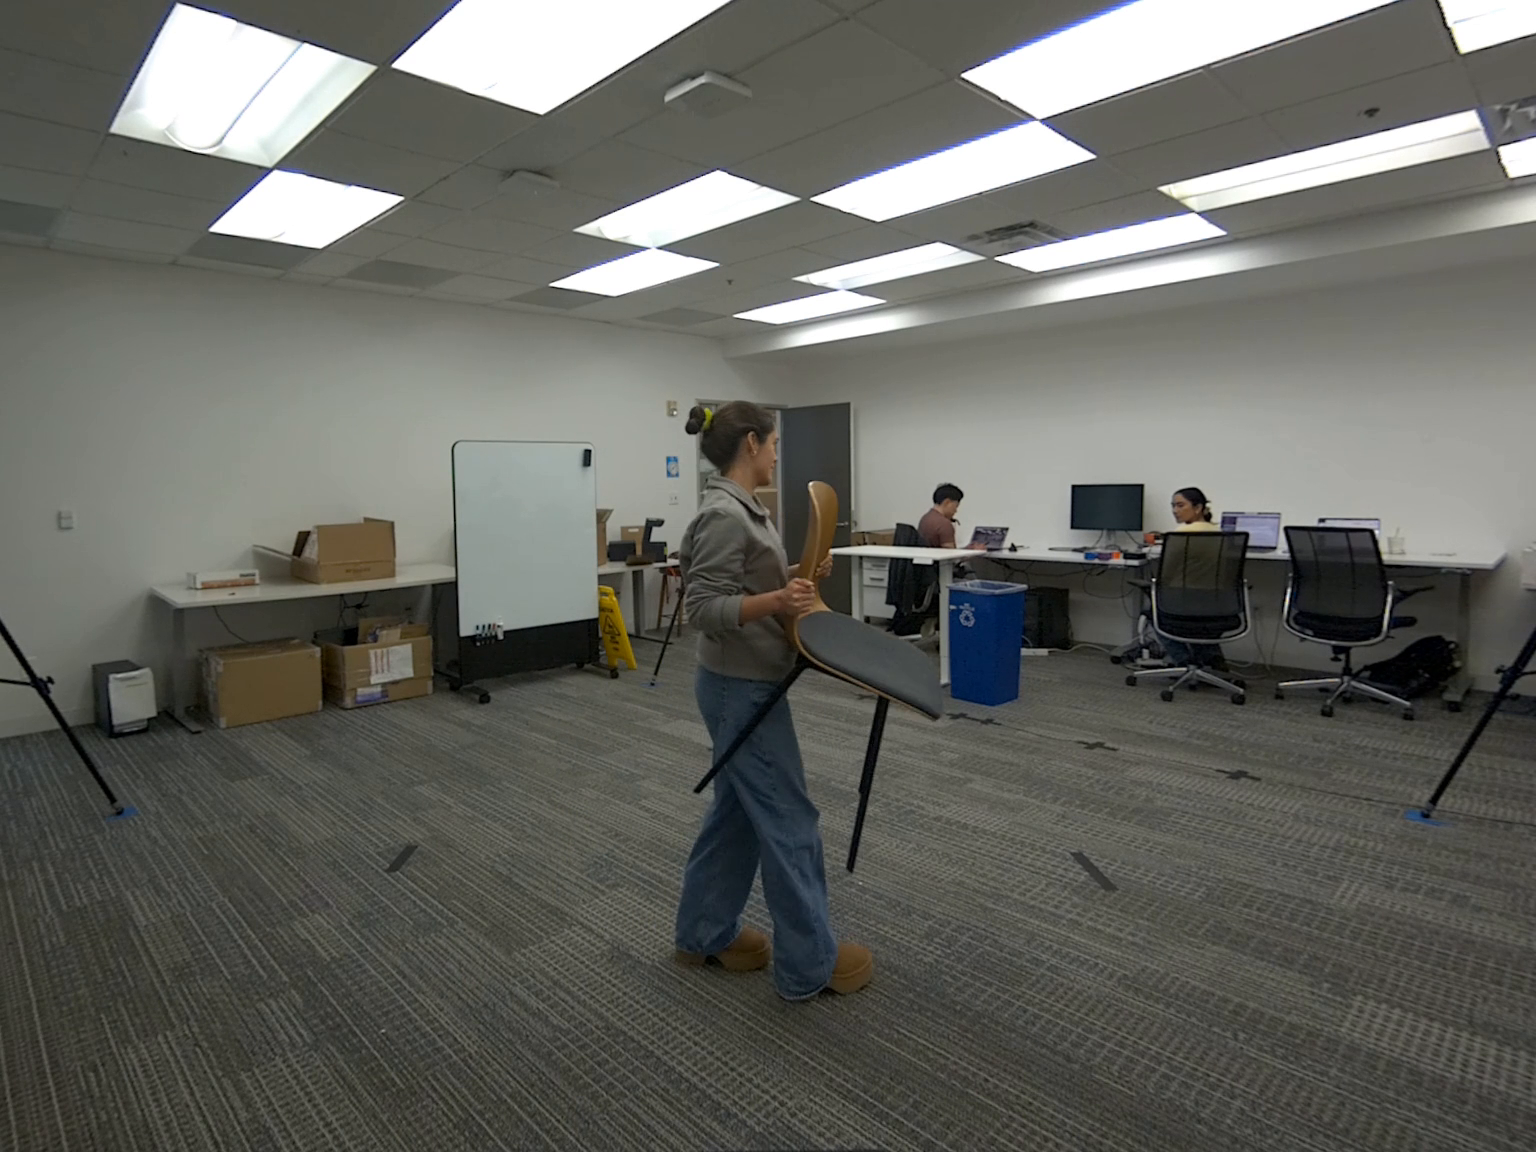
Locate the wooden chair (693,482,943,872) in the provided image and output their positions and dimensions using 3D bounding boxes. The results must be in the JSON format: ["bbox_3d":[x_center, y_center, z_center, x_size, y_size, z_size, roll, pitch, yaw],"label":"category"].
[{"bbox_3d":[0.221,0.239,2.328,0.529,0.871,0.476,20,12,8],"label":"wooden chair"}]
